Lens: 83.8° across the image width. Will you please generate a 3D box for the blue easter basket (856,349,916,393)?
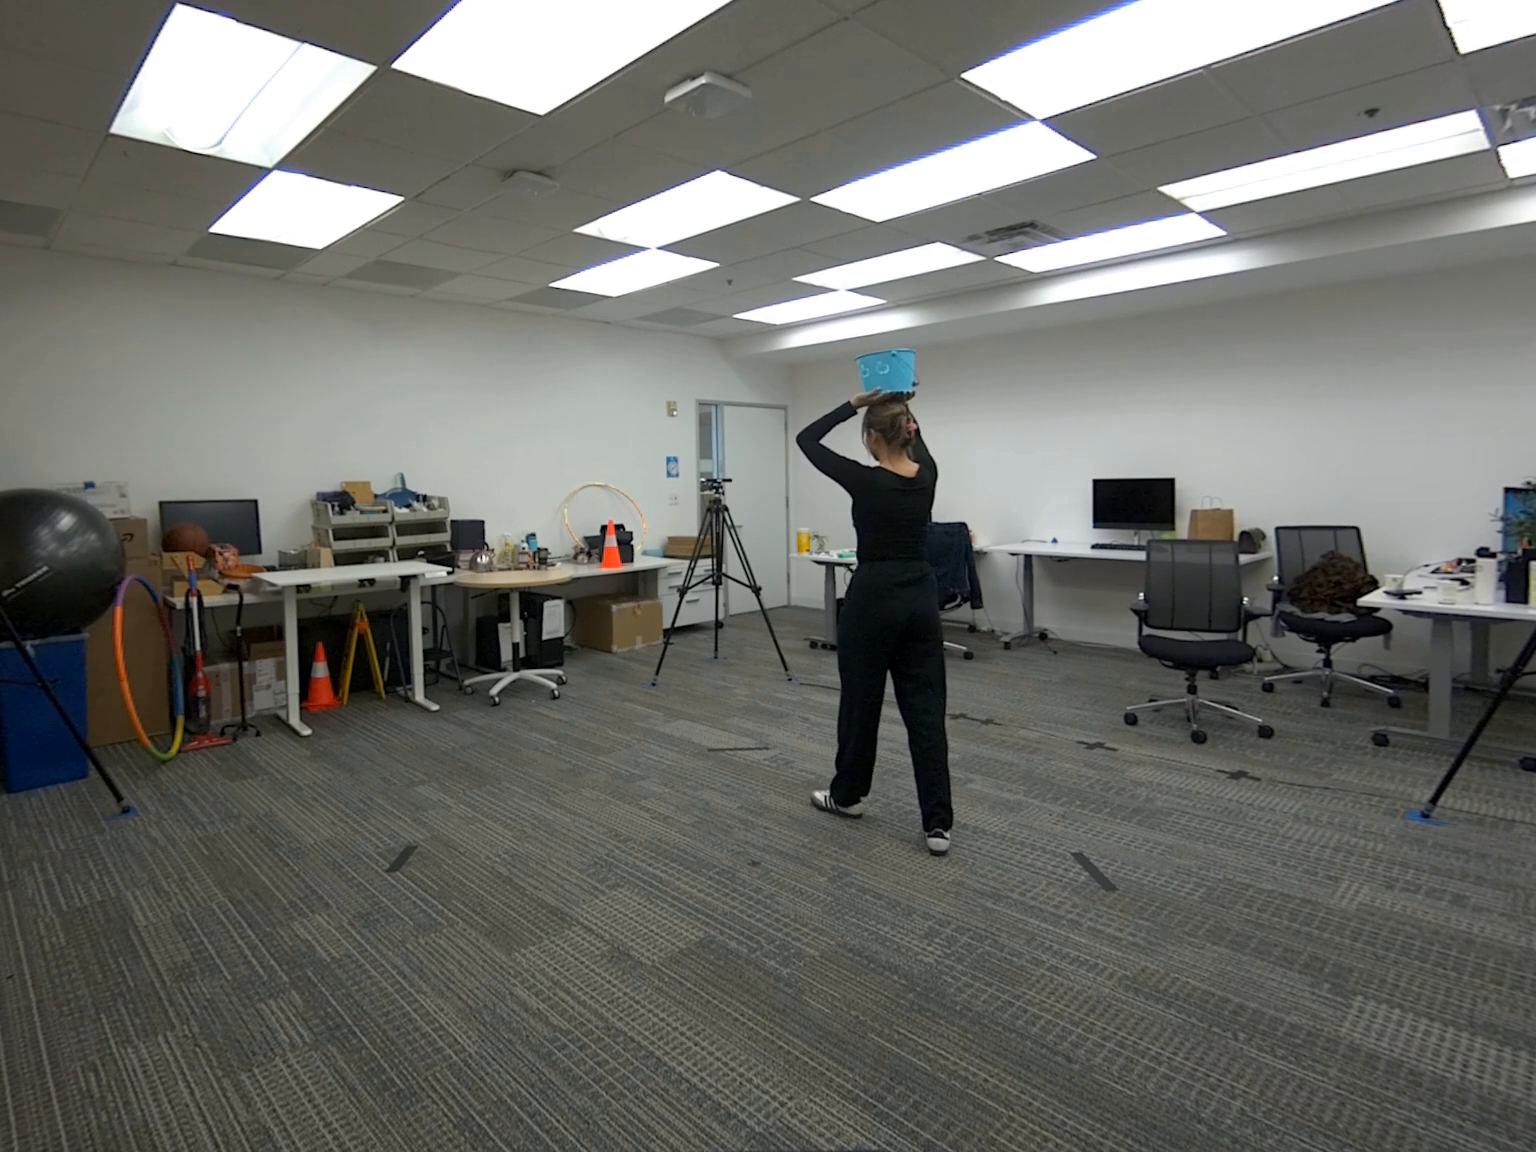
[{"bbox_3d":[0.467,-0.773,3.277,0.243,0.156,0.244,-4,2,-2],"label":"blue easter basket"}]
